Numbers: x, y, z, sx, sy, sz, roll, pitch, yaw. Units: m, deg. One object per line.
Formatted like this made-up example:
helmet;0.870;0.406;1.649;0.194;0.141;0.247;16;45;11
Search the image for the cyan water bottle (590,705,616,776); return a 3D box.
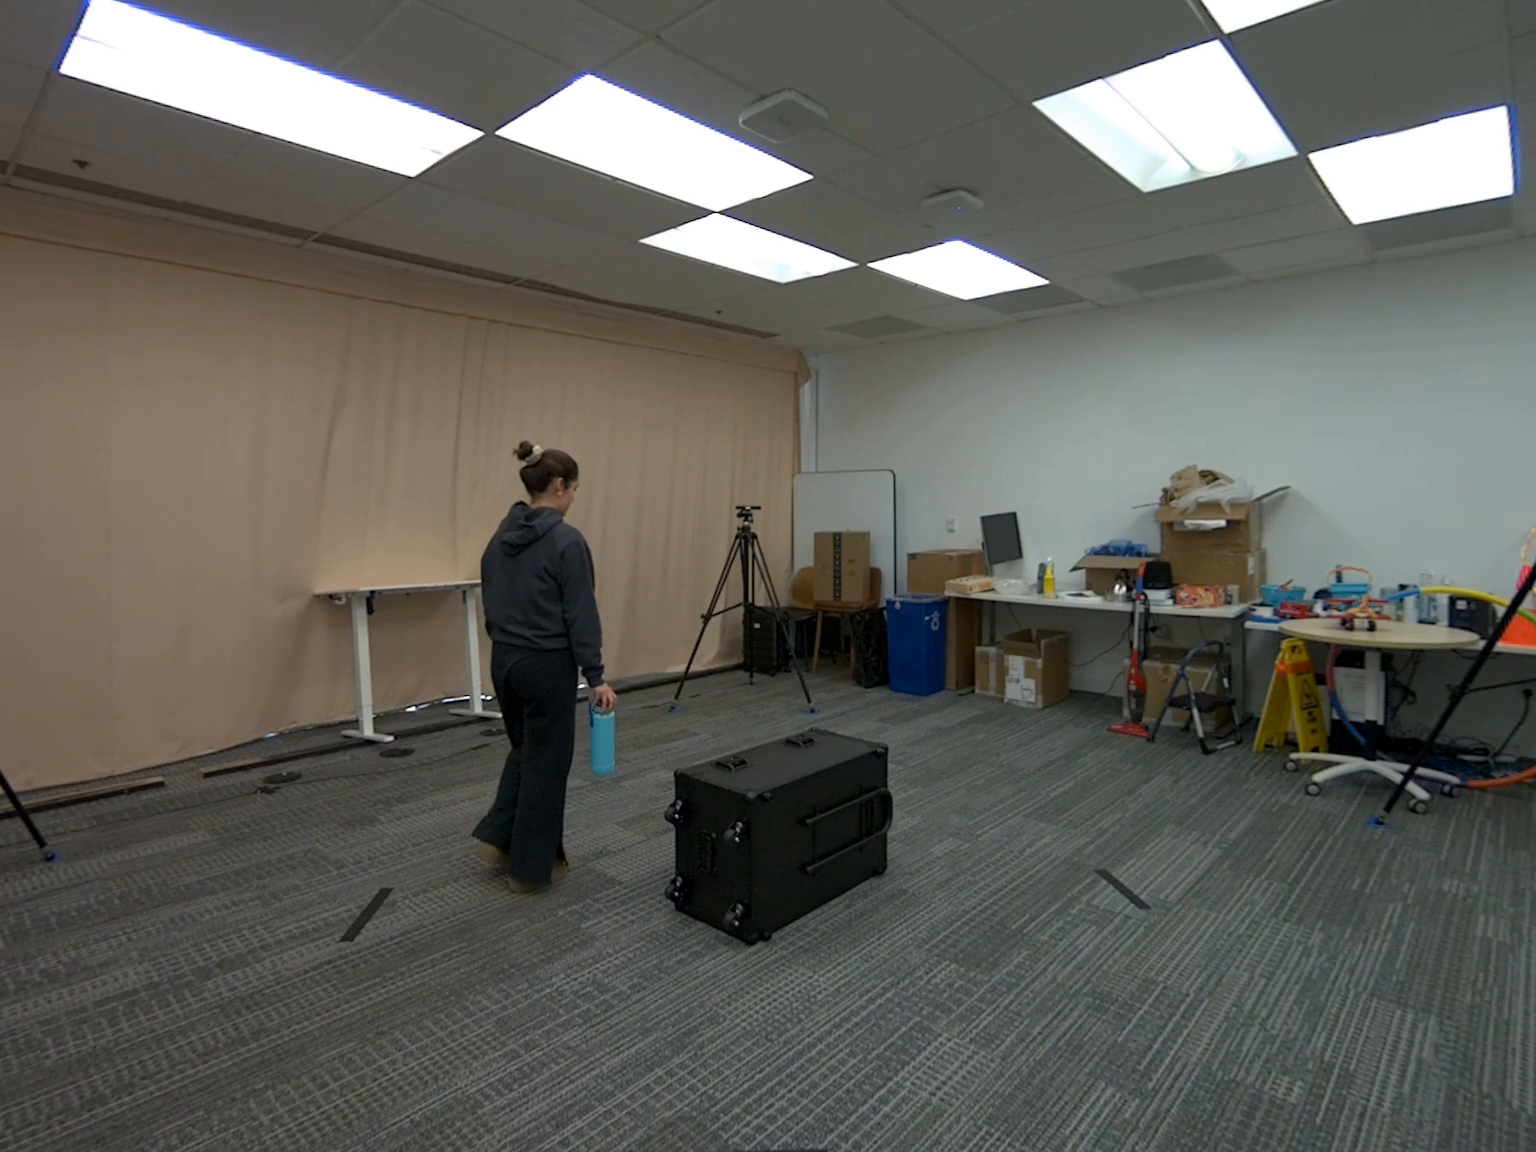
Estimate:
cyan water bottle;-0.597;0.582;3.063;0.092;0.282;0.093;1;8;-2
